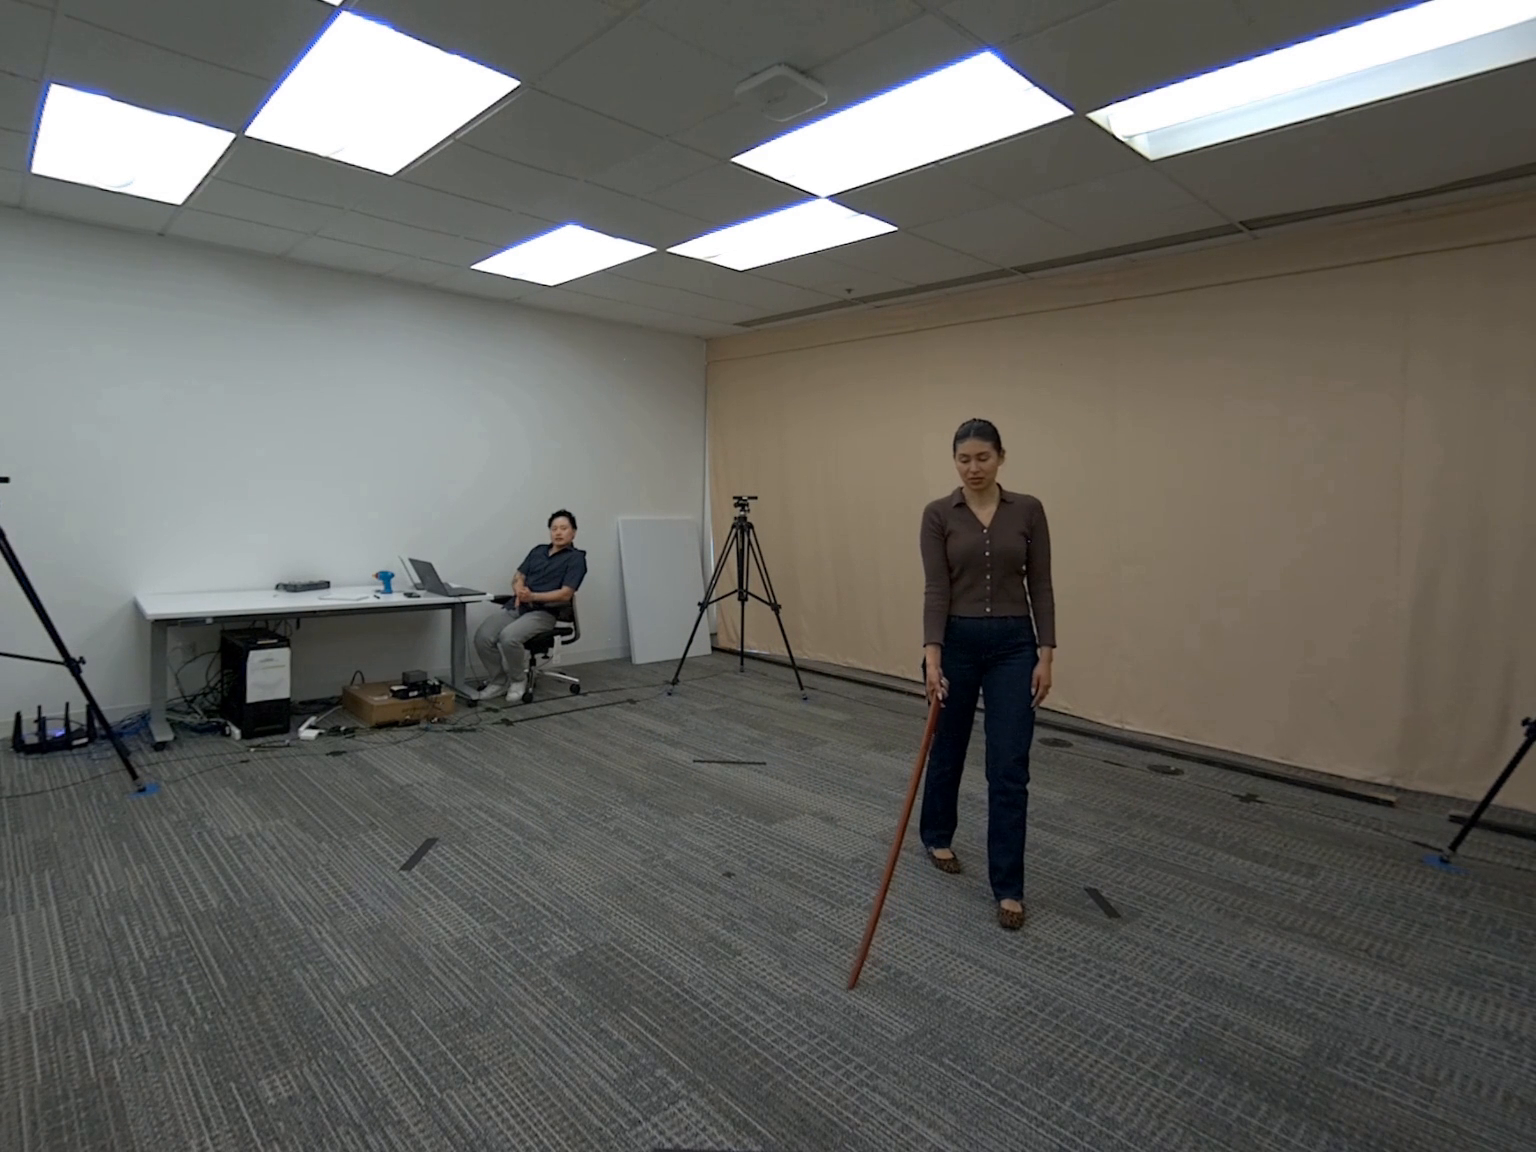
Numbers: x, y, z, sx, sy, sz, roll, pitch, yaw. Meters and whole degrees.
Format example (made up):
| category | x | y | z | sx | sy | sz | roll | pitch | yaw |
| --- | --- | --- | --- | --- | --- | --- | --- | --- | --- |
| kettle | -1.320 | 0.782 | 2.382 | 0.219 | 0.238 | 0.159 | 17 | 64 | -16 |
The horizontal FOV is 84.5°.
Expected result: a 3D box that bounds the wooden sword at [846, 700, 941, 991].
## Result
| category | x | y | z | sx | sy | sz | roll | pitch | yaw |
| --- | --- | --- | --- | --- | --- | --- | --- | --- | --- |
| wooden sword | 0.420 | 0.777 | 2.641 | 0.052 | 1.034 | 0.024 | 20 | -30 | 7 |
